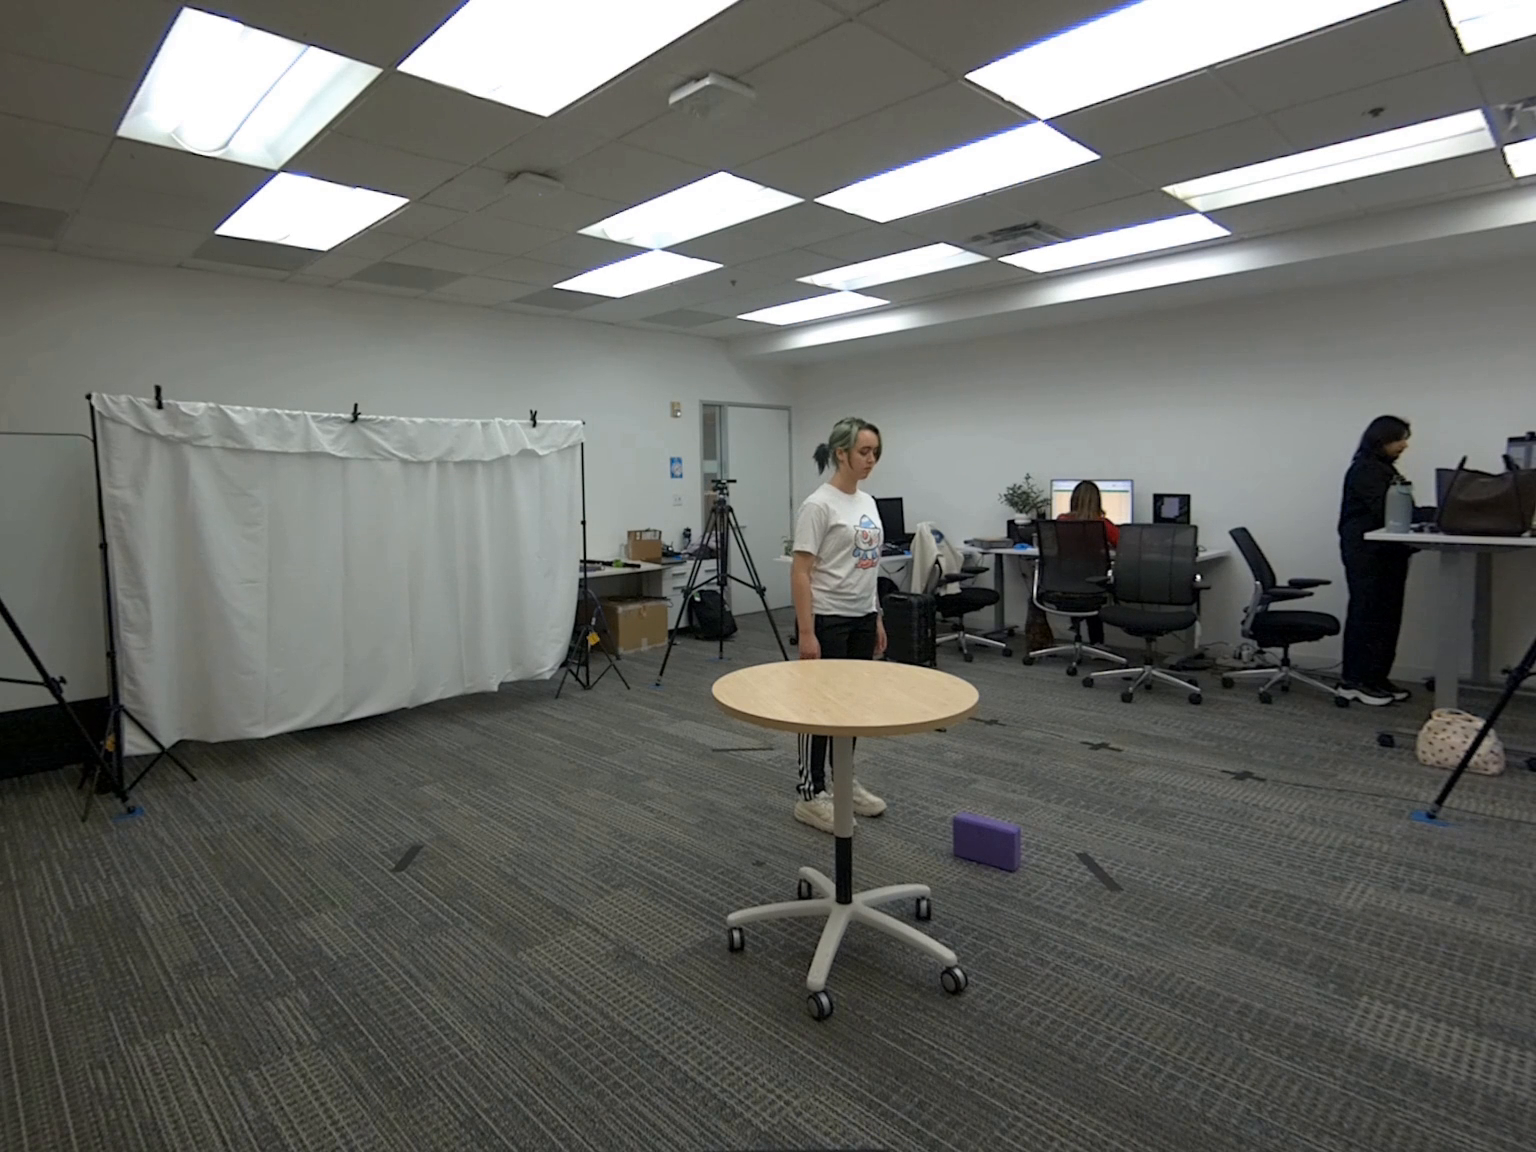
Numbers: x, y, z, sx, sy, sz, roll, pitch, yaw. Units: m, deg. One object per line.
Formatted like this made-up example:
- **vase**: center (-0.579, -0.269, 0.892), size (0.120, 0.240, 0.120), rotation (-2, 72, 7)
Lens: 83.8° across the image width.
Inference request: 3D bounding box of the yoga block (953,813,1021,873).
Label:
- **yoga block**: center (0.797, 0.959, 3.089), size (0.236, 0.148, 0.074), rotation (5, 7, 39)
